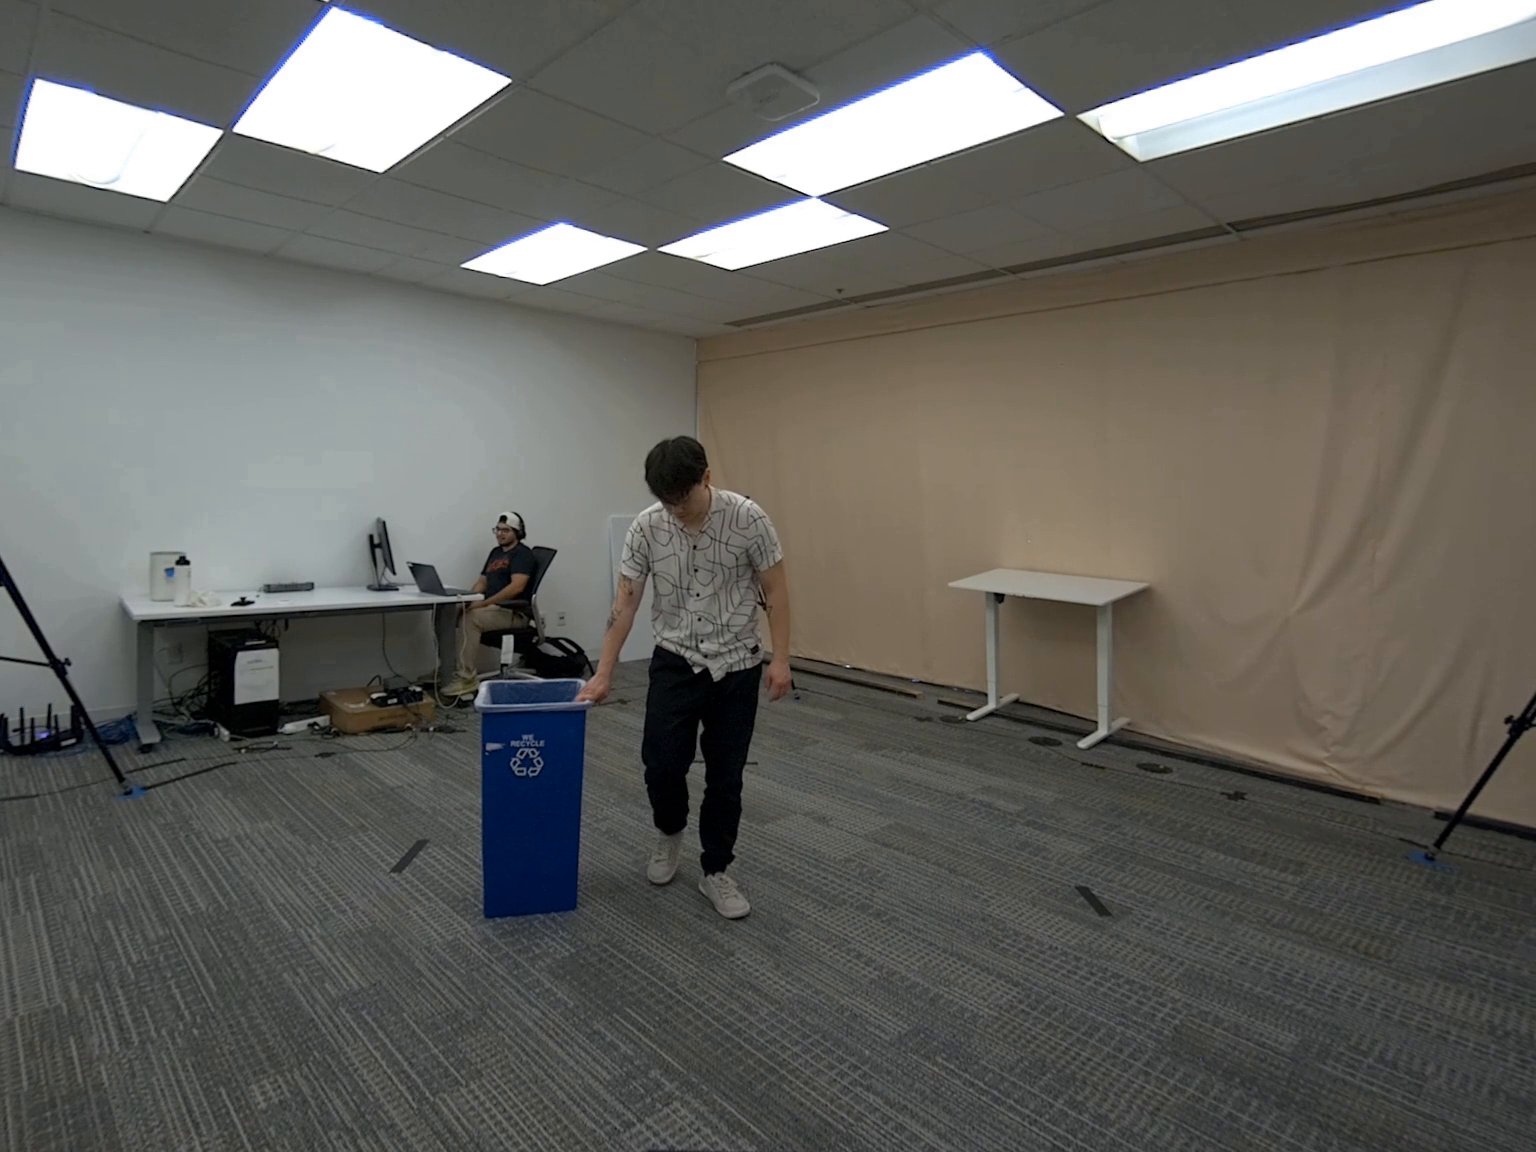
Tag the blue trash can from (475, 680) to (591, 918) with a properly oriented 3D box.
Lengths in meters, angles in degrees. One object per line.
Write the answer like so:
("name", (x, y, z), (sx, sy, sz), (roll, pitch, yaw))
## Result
("blue trash can", (-0.814, 0.751, 2.906), (0.370, 0.711, 0.384), (0, 4, -15))
